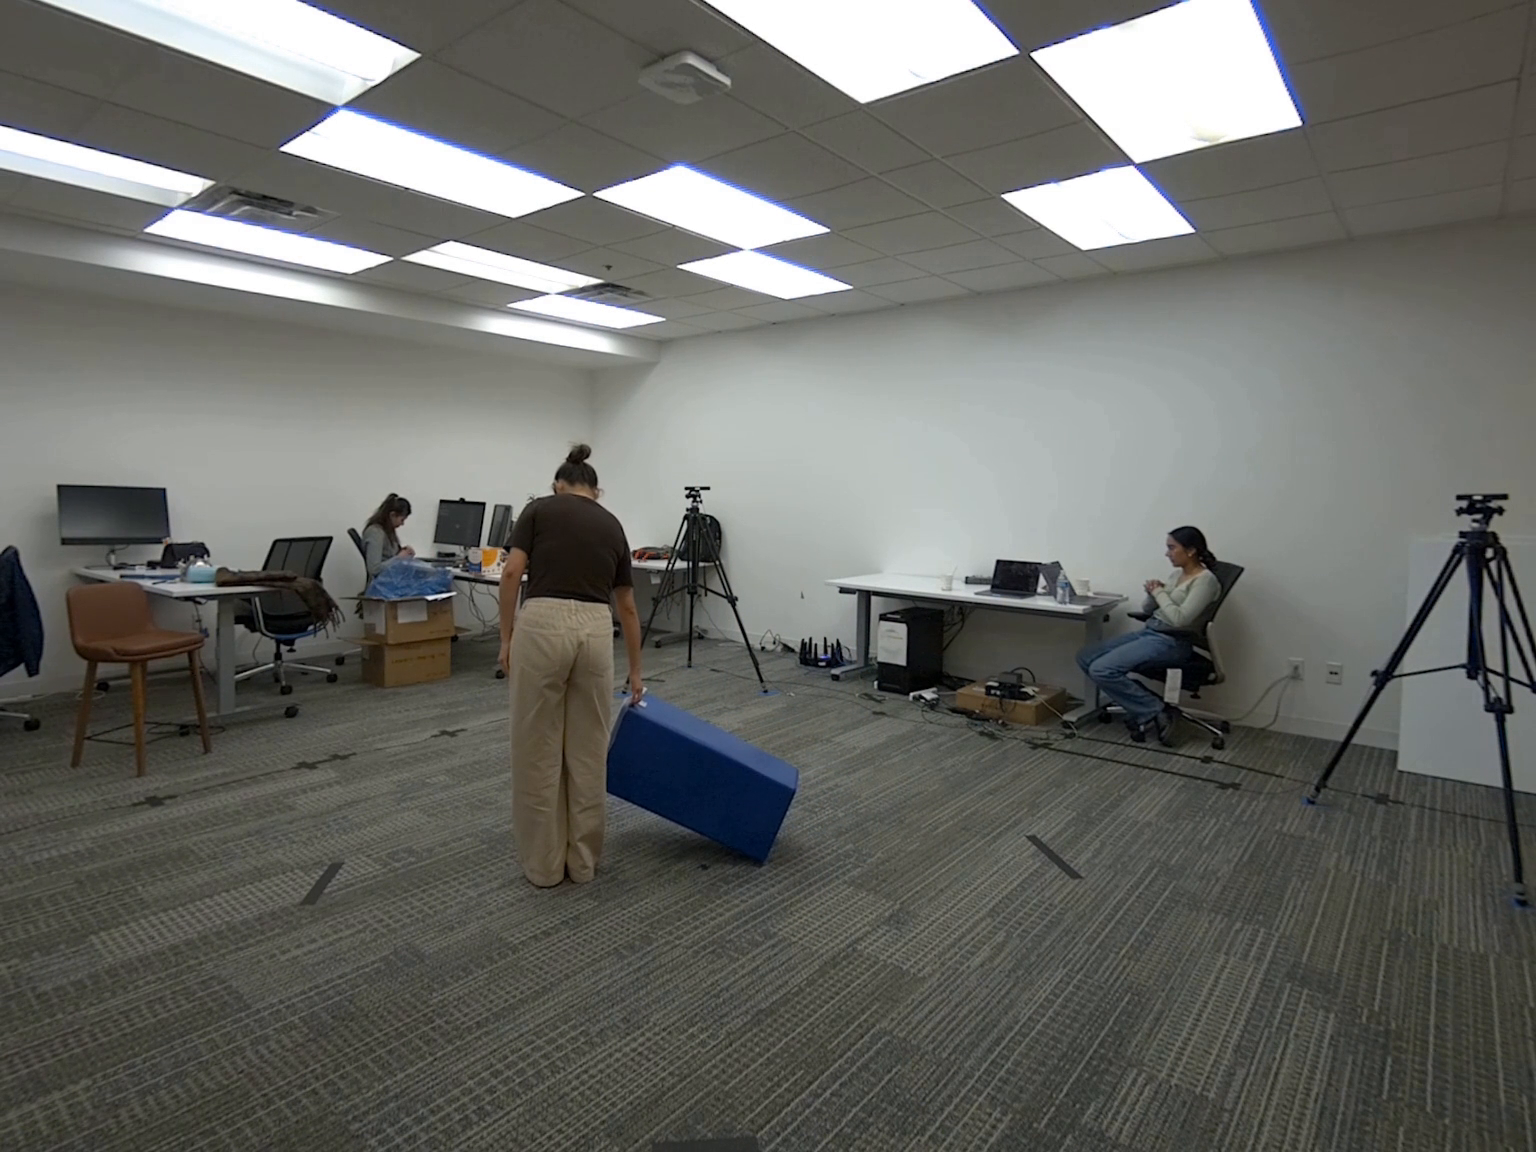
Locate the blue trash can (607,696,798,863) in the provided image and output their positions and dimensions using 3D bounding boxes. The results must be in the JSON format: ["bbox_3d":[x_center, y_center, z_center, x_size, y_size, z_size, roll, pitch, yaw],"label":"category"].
[{"bbox_3d":[-0.285,0.766,3.303,0.720,0.374,0.375,25,2,6],"label":"blue trash can"}]
